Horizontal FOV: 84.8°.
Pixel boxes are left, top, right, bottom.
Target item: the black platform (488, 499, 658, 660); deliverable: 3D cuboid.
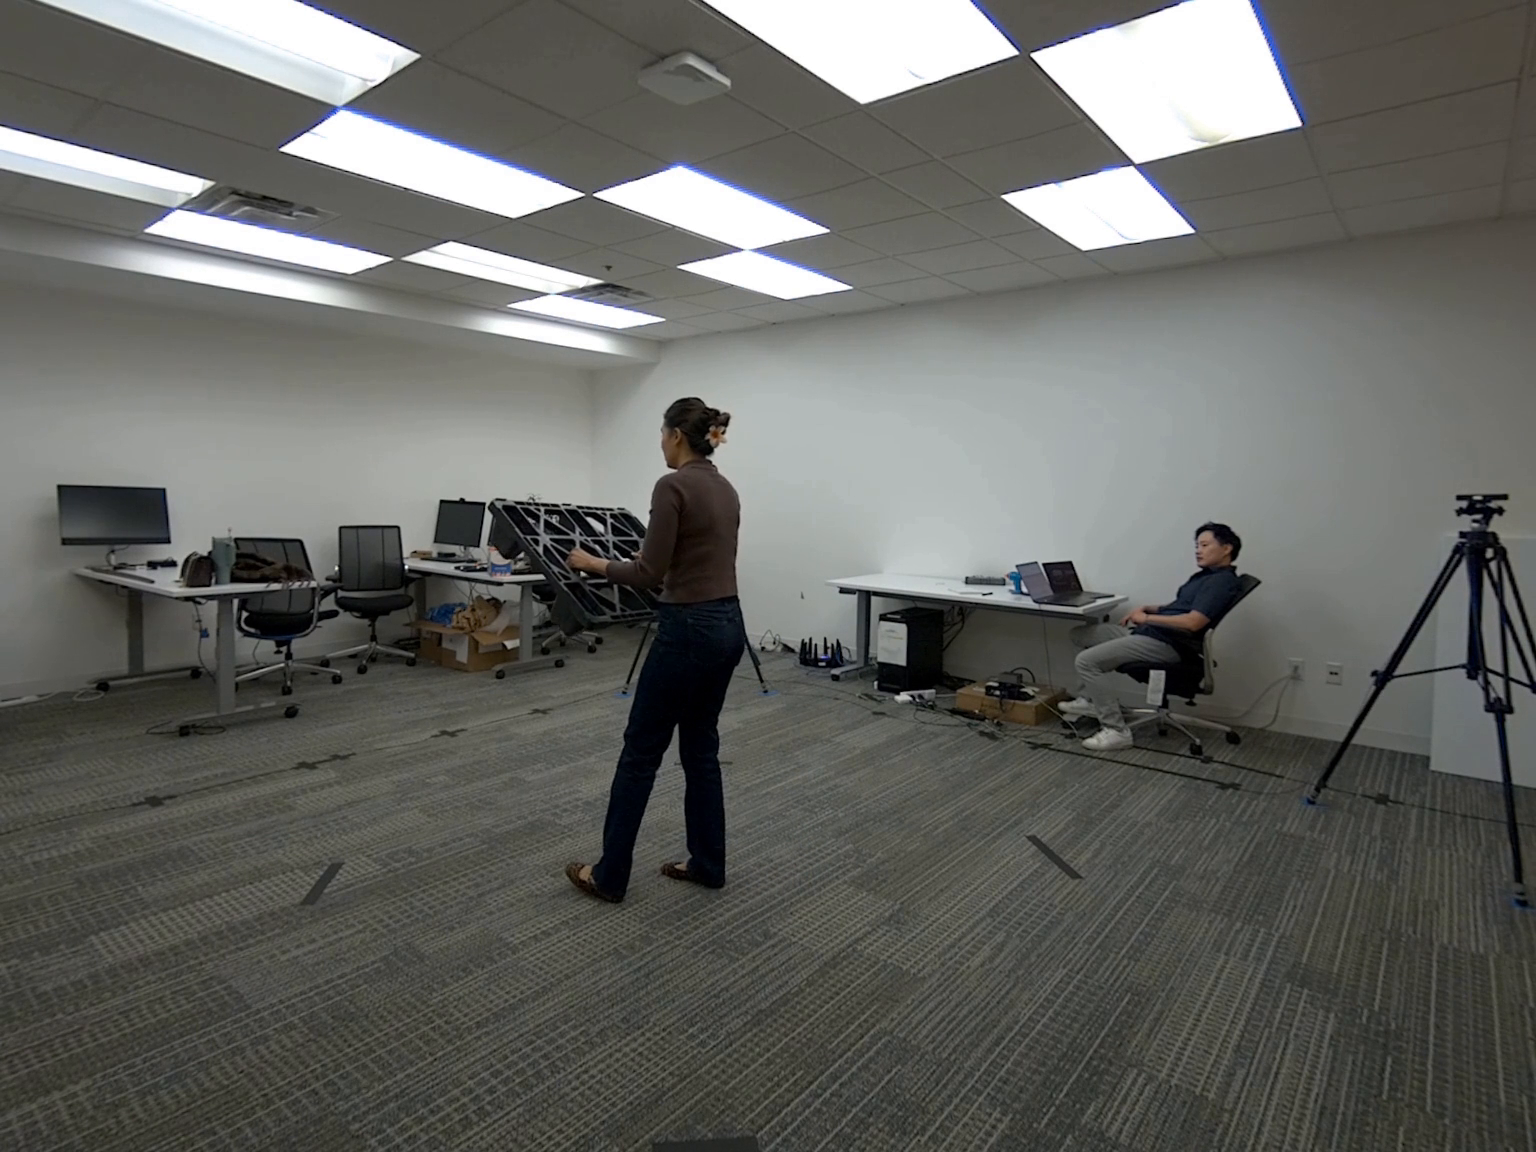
[{"bbox_3d":[-0.622,-0.026,3.130,0.623,0.143,0.784,44,20,20],"label":"black platform"}]
